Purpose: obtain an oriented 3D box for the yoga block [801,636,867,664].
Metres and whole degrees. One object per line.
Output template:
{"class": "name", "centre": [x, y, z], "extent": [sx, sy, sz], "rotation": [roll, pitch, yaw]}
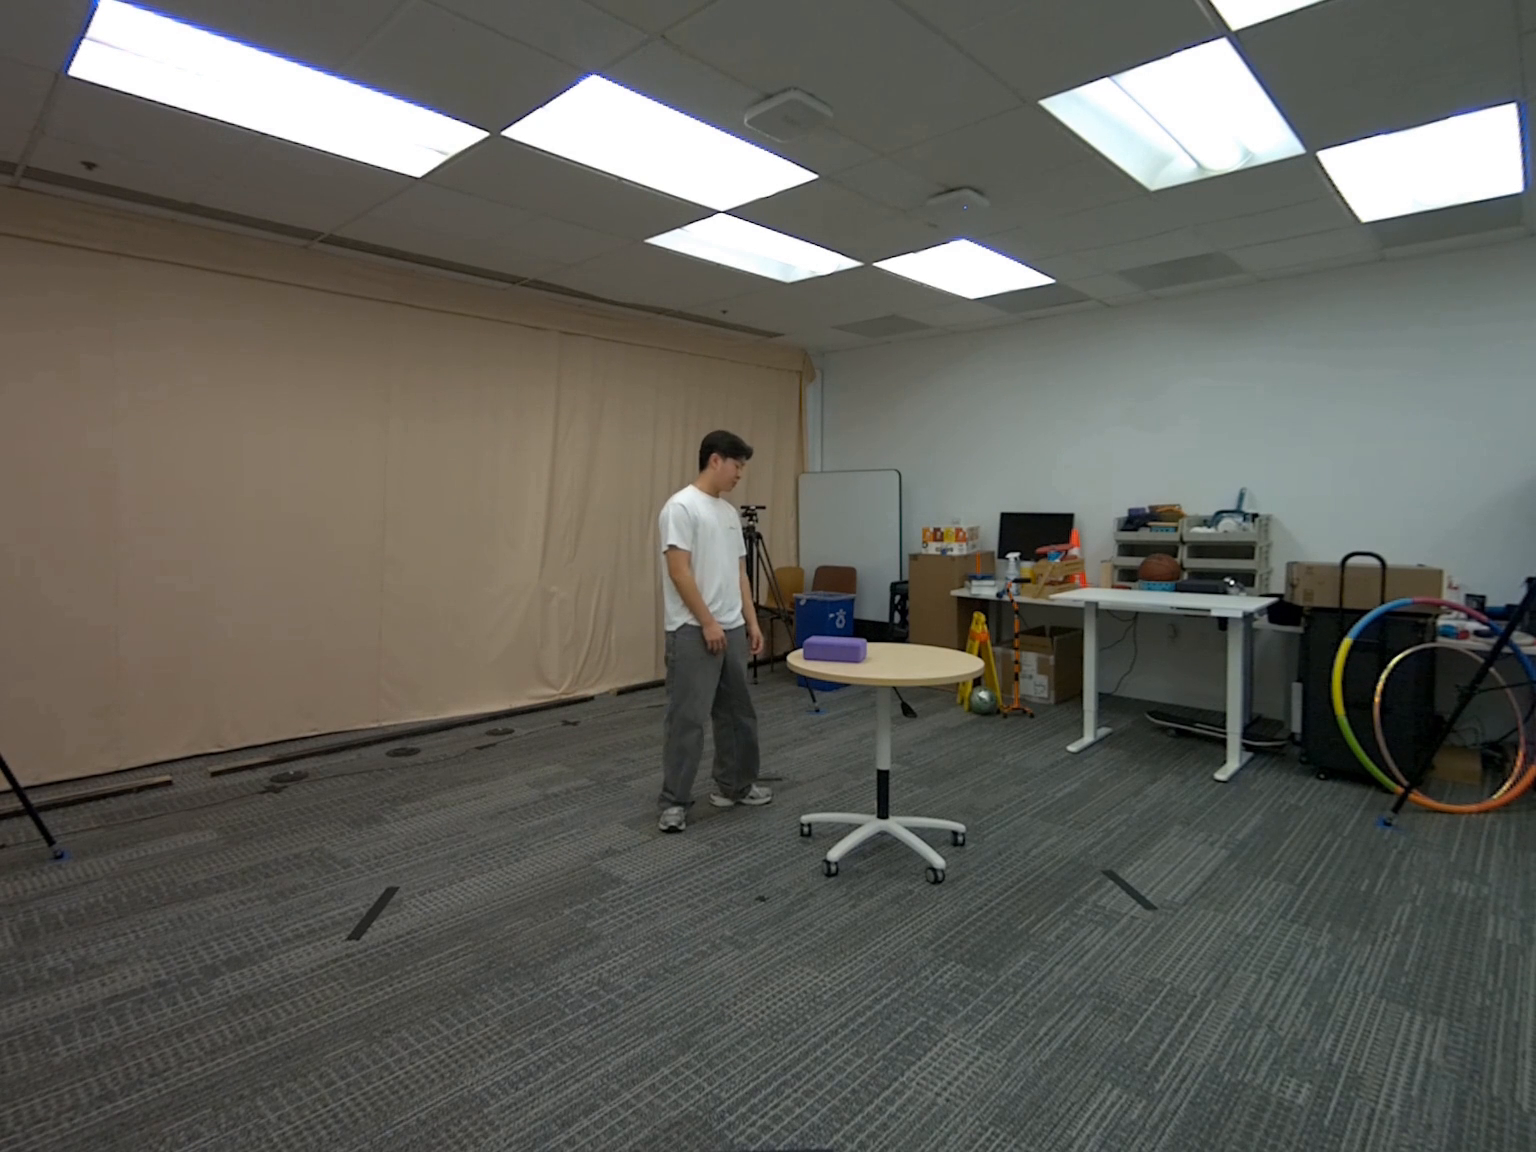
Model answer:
{"class": "yoga block", "centre": [0.279, 0.292, 3.355], "extent": [0.234, 0.076, 0.146], "rotation": [2, 5, 18]}
